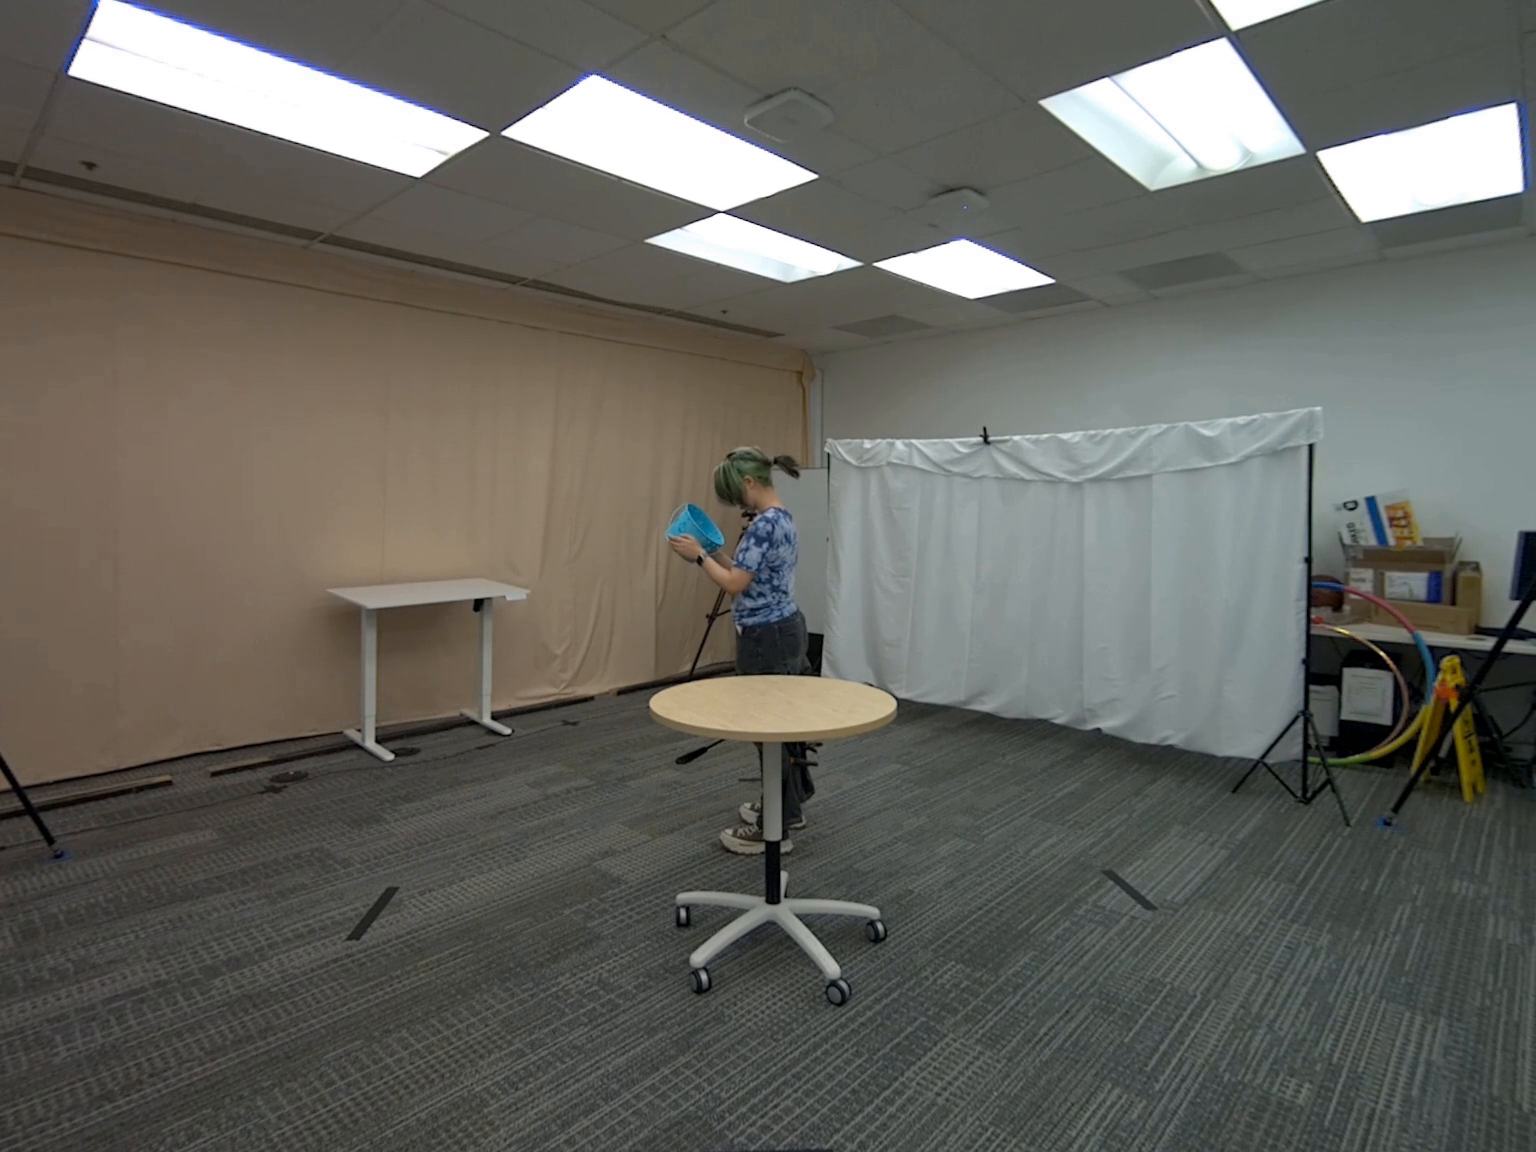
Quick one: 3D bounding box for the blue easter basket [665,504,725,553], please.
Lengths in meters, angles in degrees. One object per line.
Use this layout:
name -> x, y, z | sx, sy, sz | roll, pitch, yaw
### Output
blue easter basket -> -0.317, -0.173, 3.584 | 0.157, 0.246, 0.240 | -41, -6, 13
